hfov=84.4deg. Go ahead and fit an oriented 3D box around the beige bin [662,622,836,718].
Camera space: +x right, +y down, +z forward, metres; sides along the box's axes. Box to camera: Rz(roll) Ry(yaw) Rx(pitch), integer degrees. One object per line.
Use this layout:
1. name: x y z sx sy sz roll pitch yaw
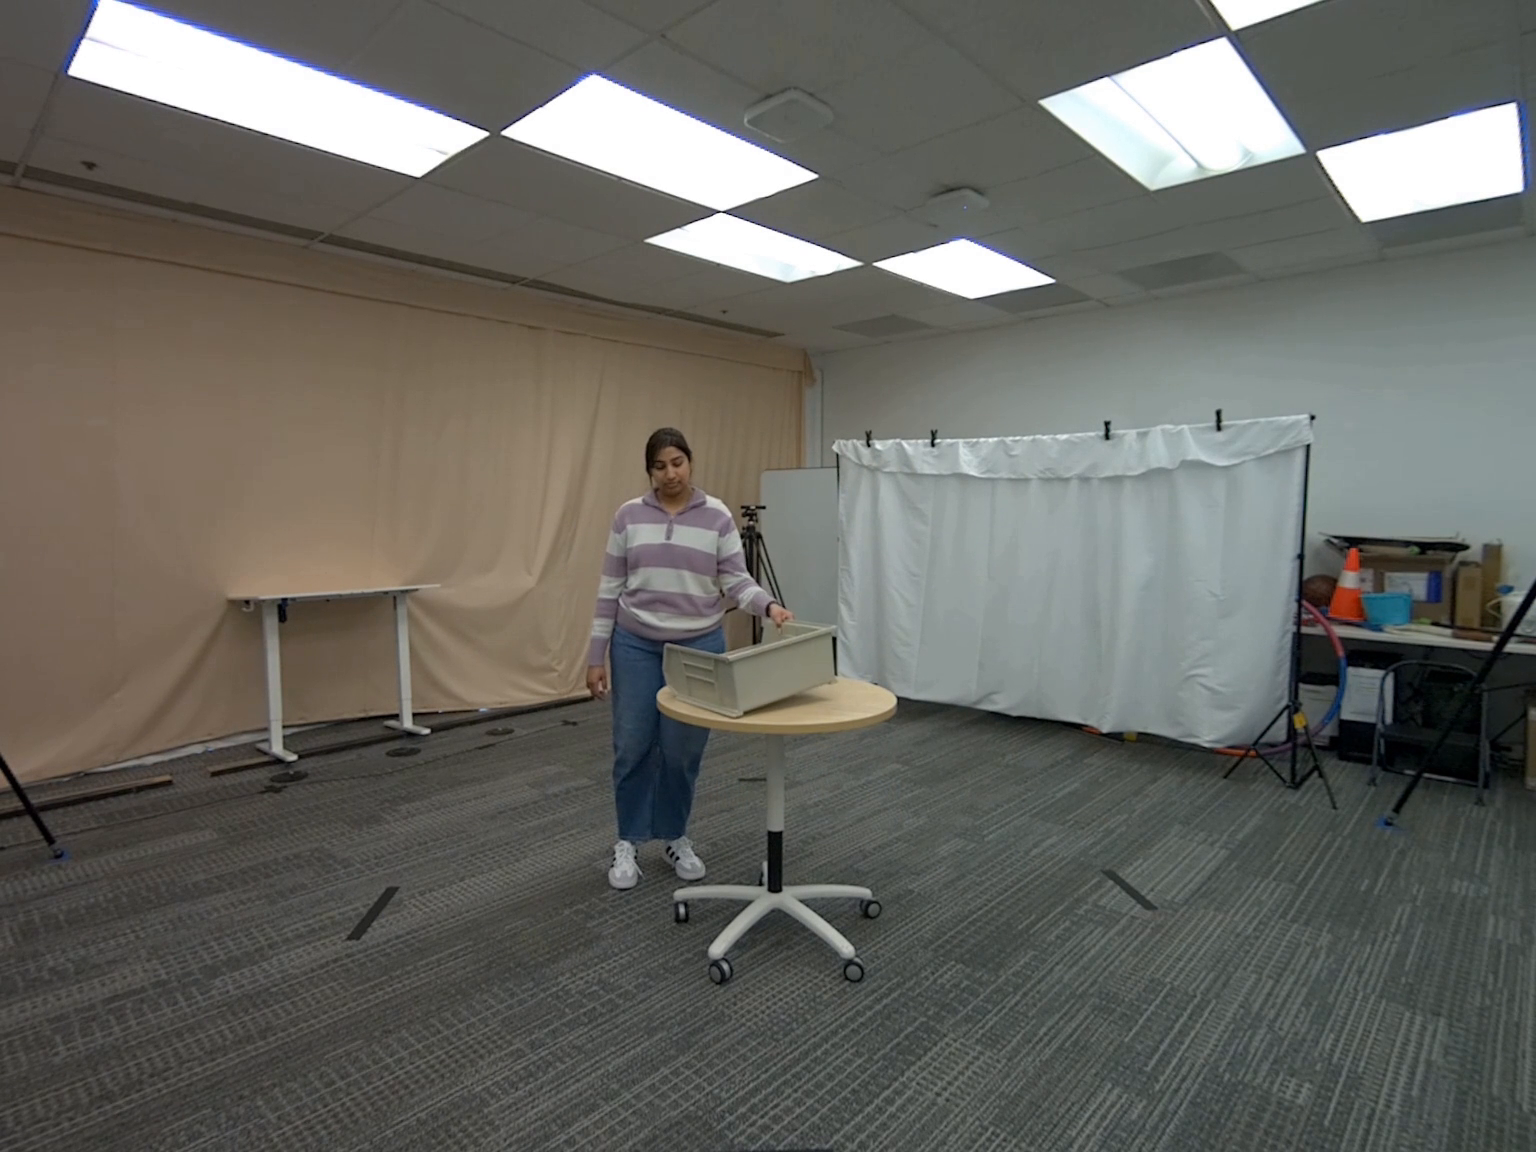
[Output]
1. beige bin: -0.056 0.270 2.630 0.411 0.188 0.389 -12 11 -36
